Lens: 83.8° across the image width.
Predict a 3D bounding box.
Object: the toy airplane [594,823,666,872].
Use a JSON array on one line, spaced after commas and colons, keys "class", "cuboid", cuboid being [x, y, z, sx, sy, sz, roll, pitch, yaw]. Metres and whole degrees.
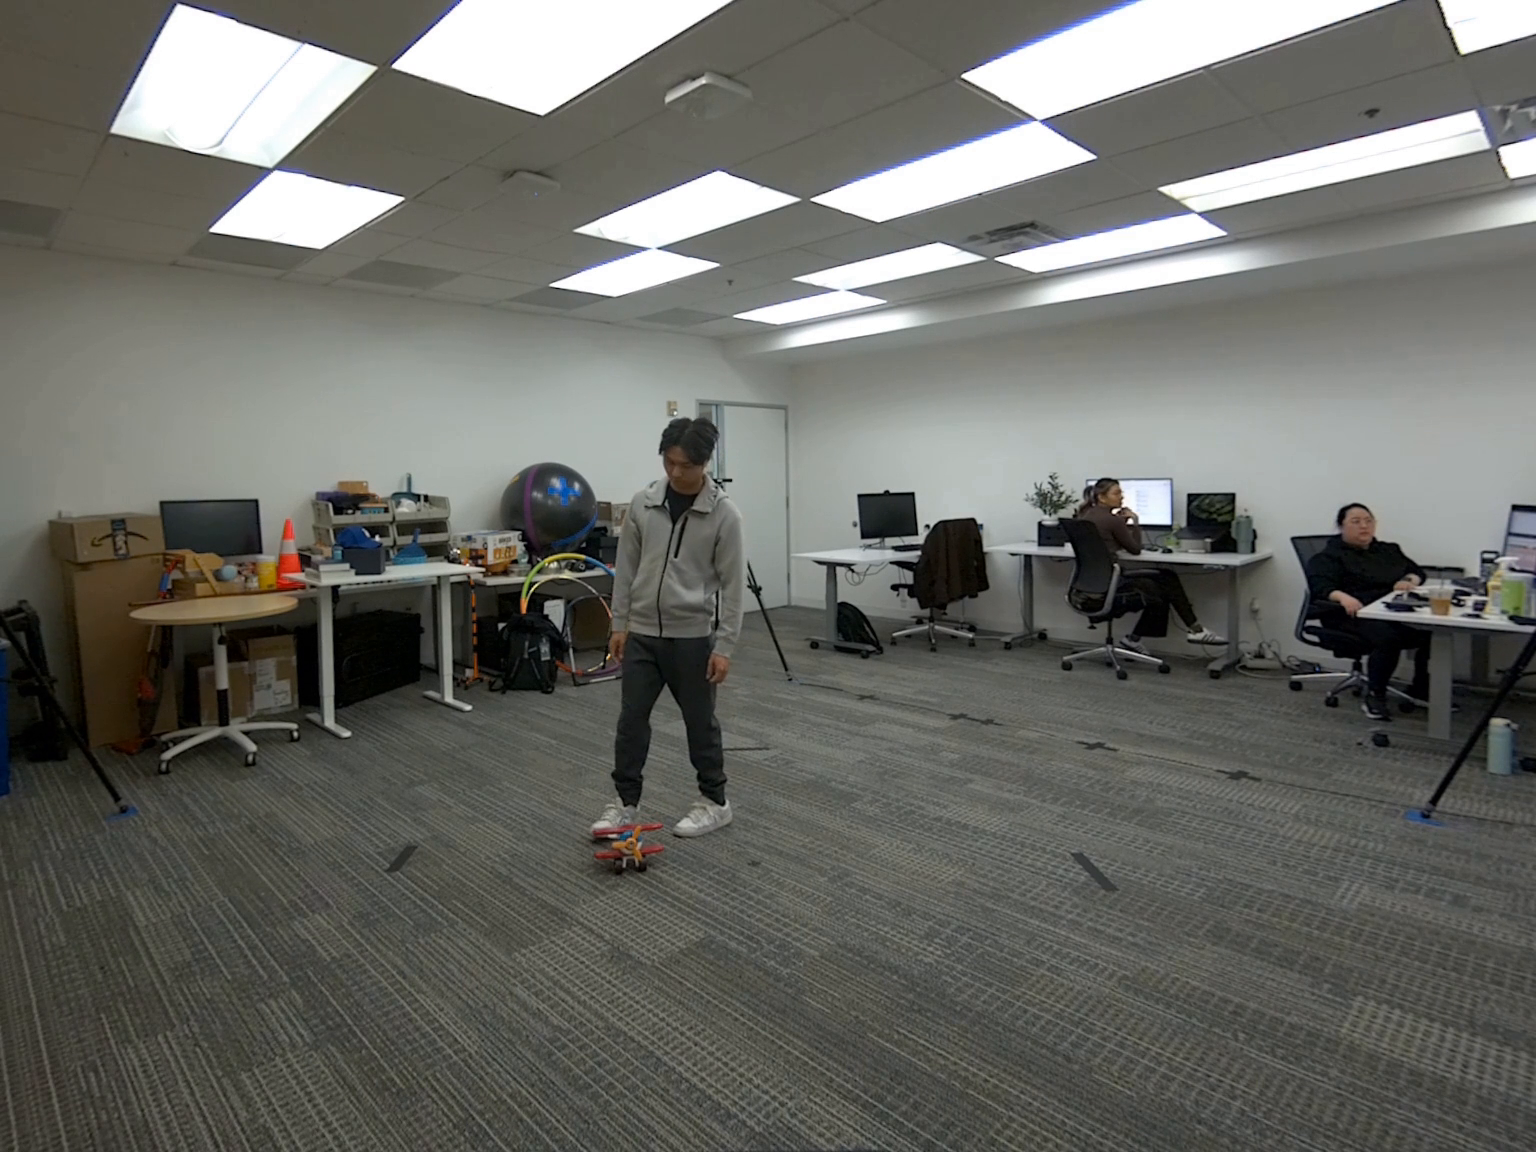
[{"class": "toy airplane", "cuboid": [-0.532, 0.979, 3.133, 0.244, 0.156, 0.267, -6, 8, -41]}]
